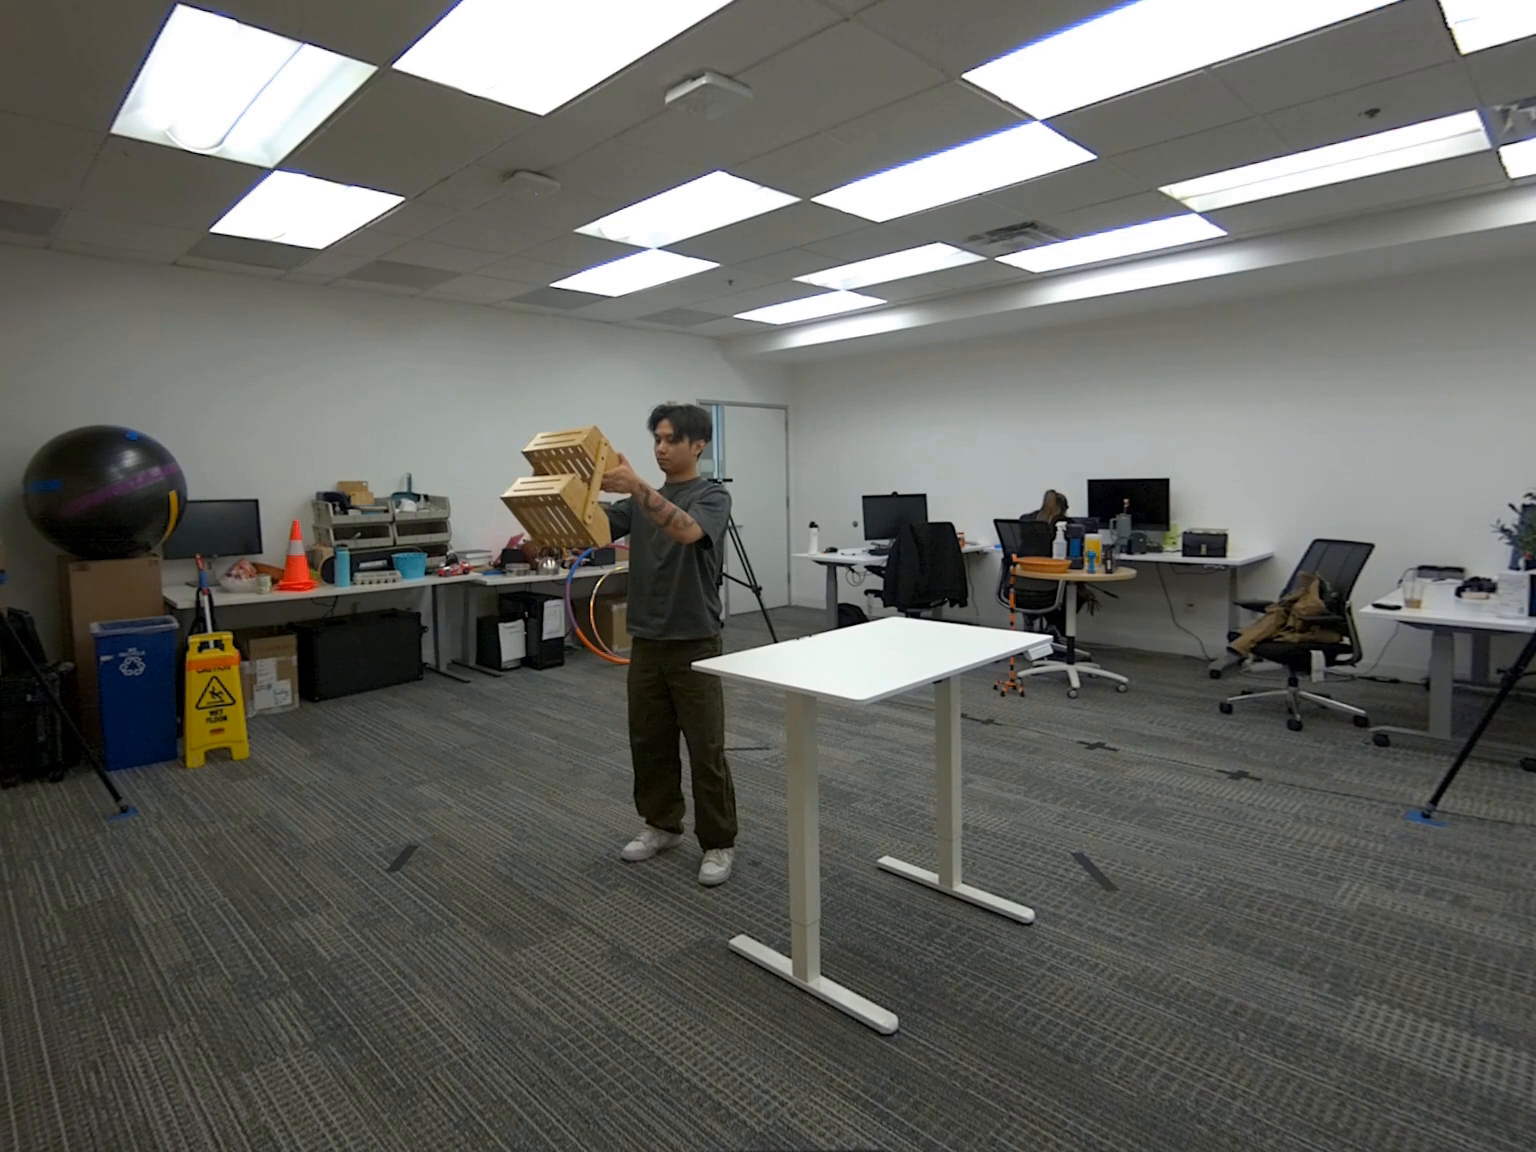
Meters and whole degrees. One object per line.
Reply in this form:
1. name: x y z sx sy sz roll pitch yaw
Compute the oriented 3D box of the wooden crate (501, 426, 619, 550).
1. wooden crate: -0.641 -0.274 2.771 0.334 0.291 0.275 0 47 39
